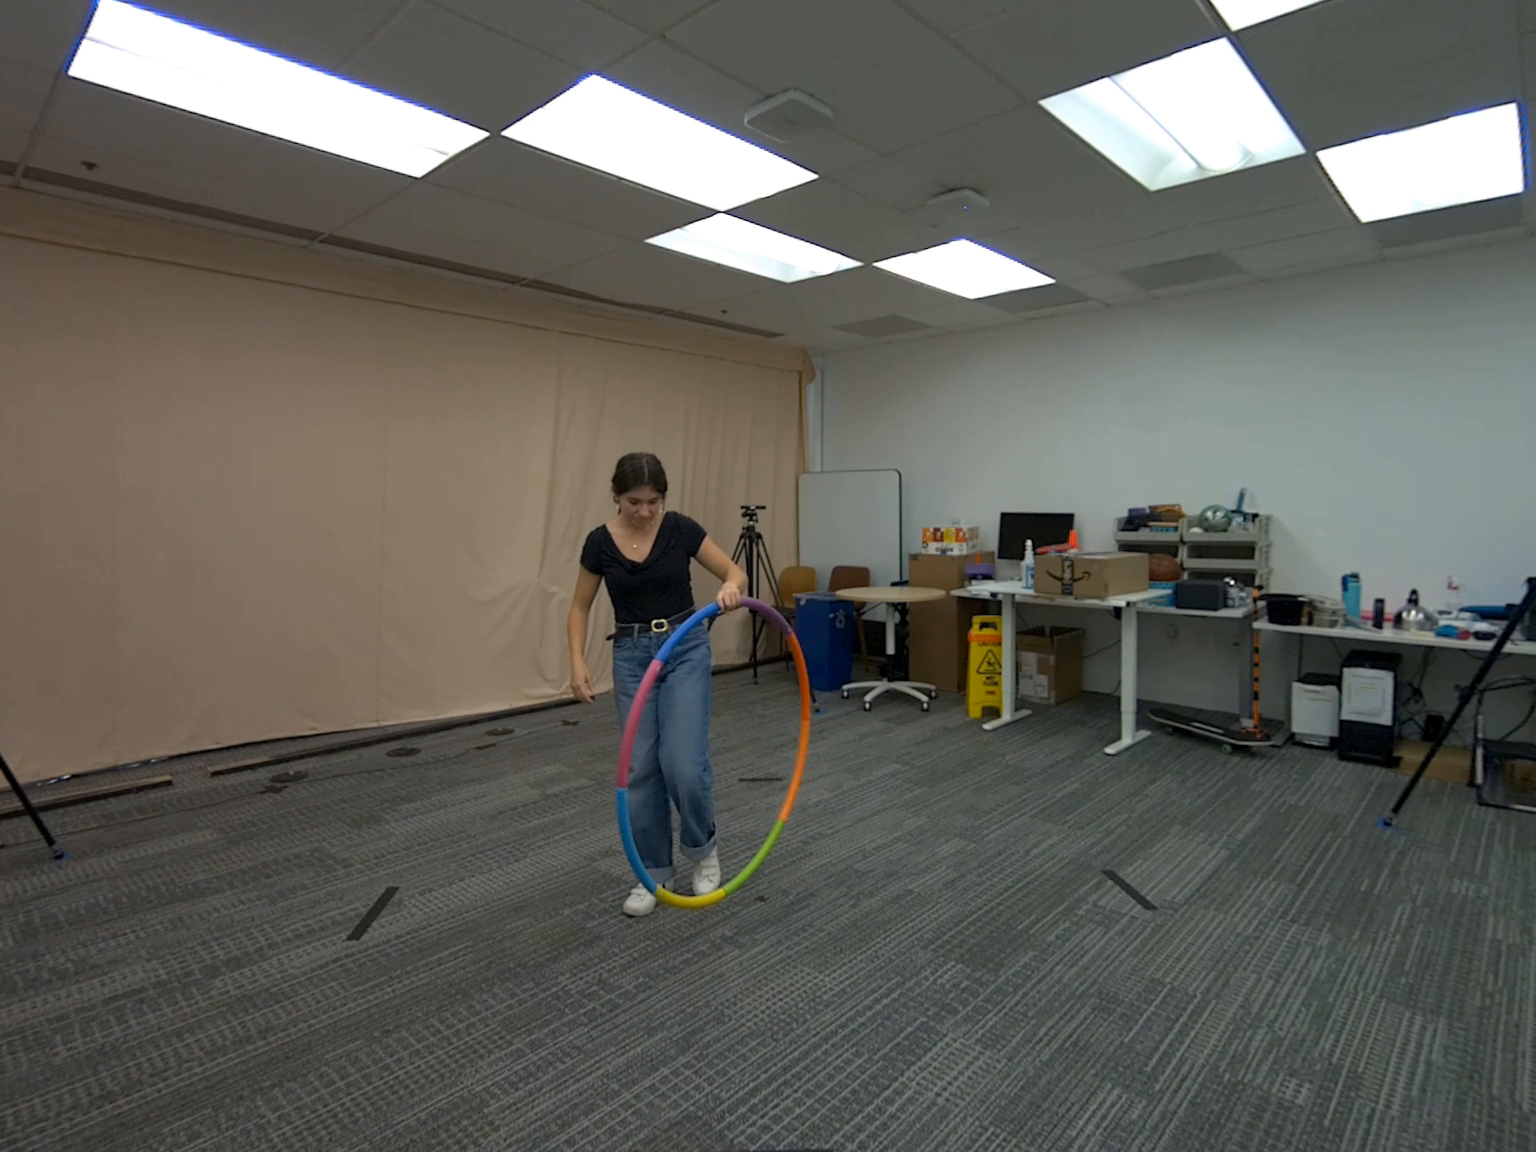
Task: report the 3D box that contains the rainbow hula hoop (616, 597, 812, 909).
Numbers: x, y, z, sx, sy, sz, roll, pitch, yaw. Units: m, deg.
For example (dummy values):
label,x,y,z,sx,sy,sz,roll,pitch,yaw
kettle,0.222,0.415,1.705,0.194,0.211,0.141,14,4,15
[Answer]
label,x,y,z,sx,sy,sz,roll,pitch,yaw
rainbow hula hoop,-0.127,0.558,2.727,0.037,0.976,0.950,5,6,36
